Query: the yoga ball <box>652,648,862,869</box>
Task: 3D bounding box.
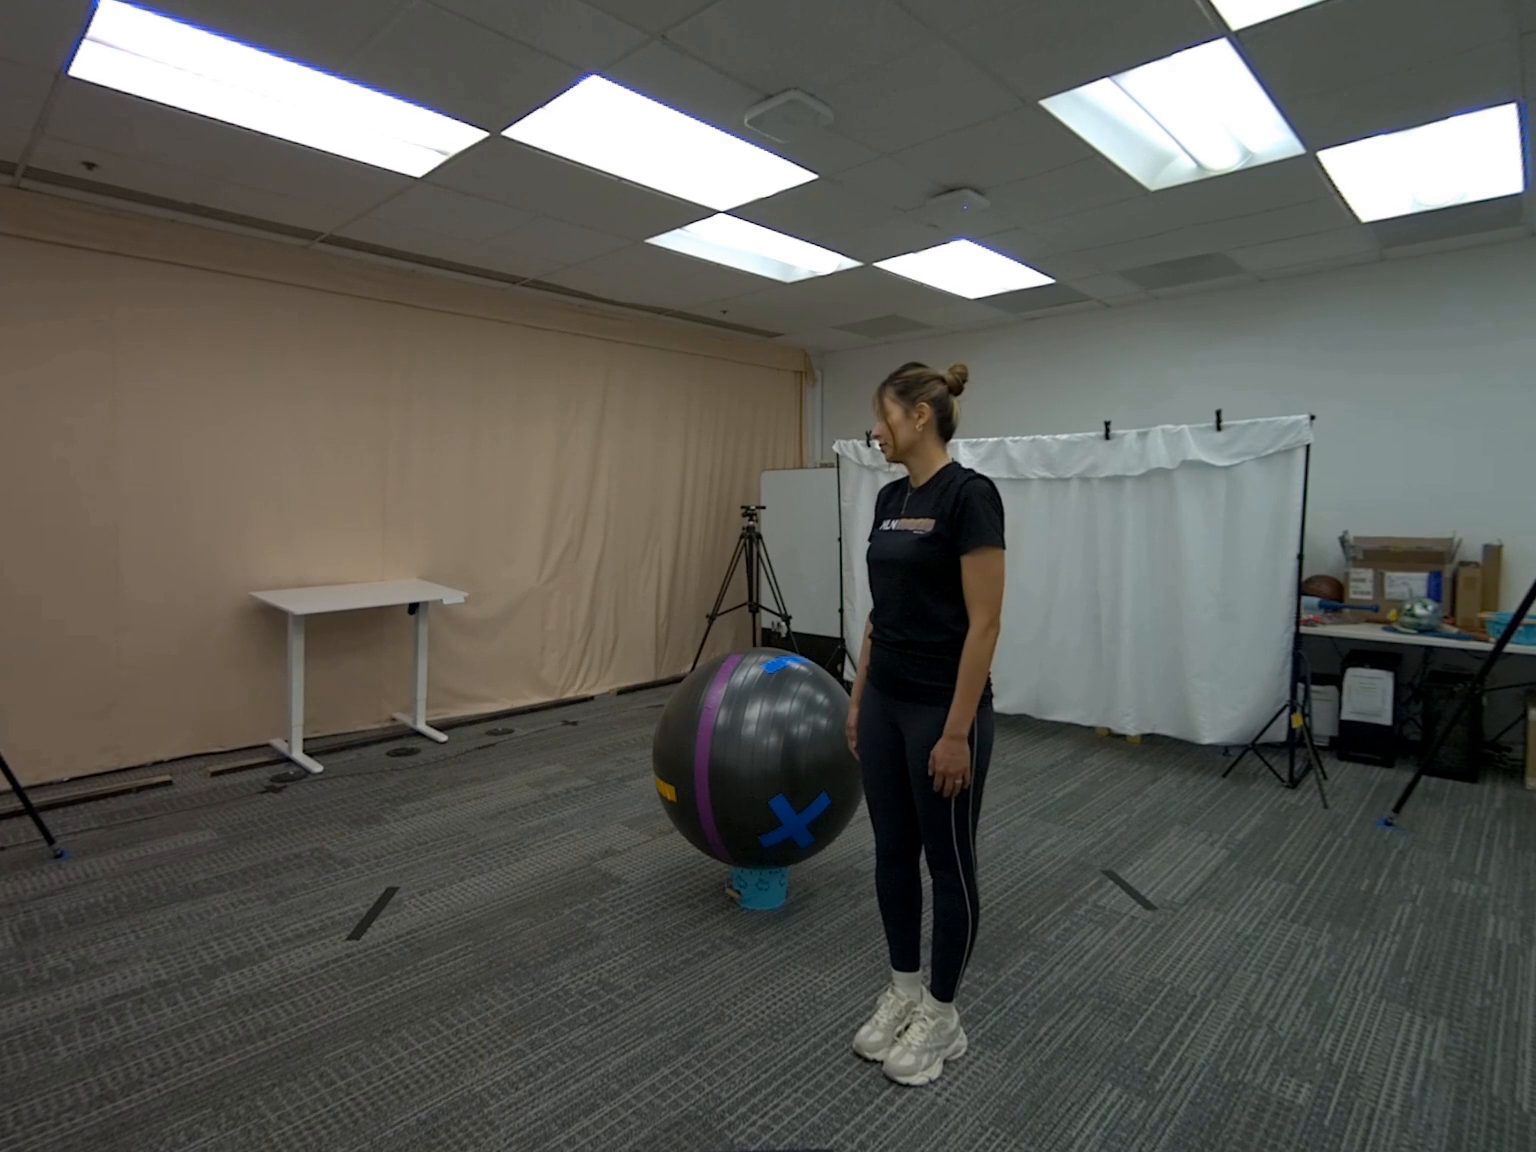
[{"bbox_3d":[-0.024,0.632,2.970,0.757,0.756,0.761,0,4,-2],"label":"yoga ball"}]
